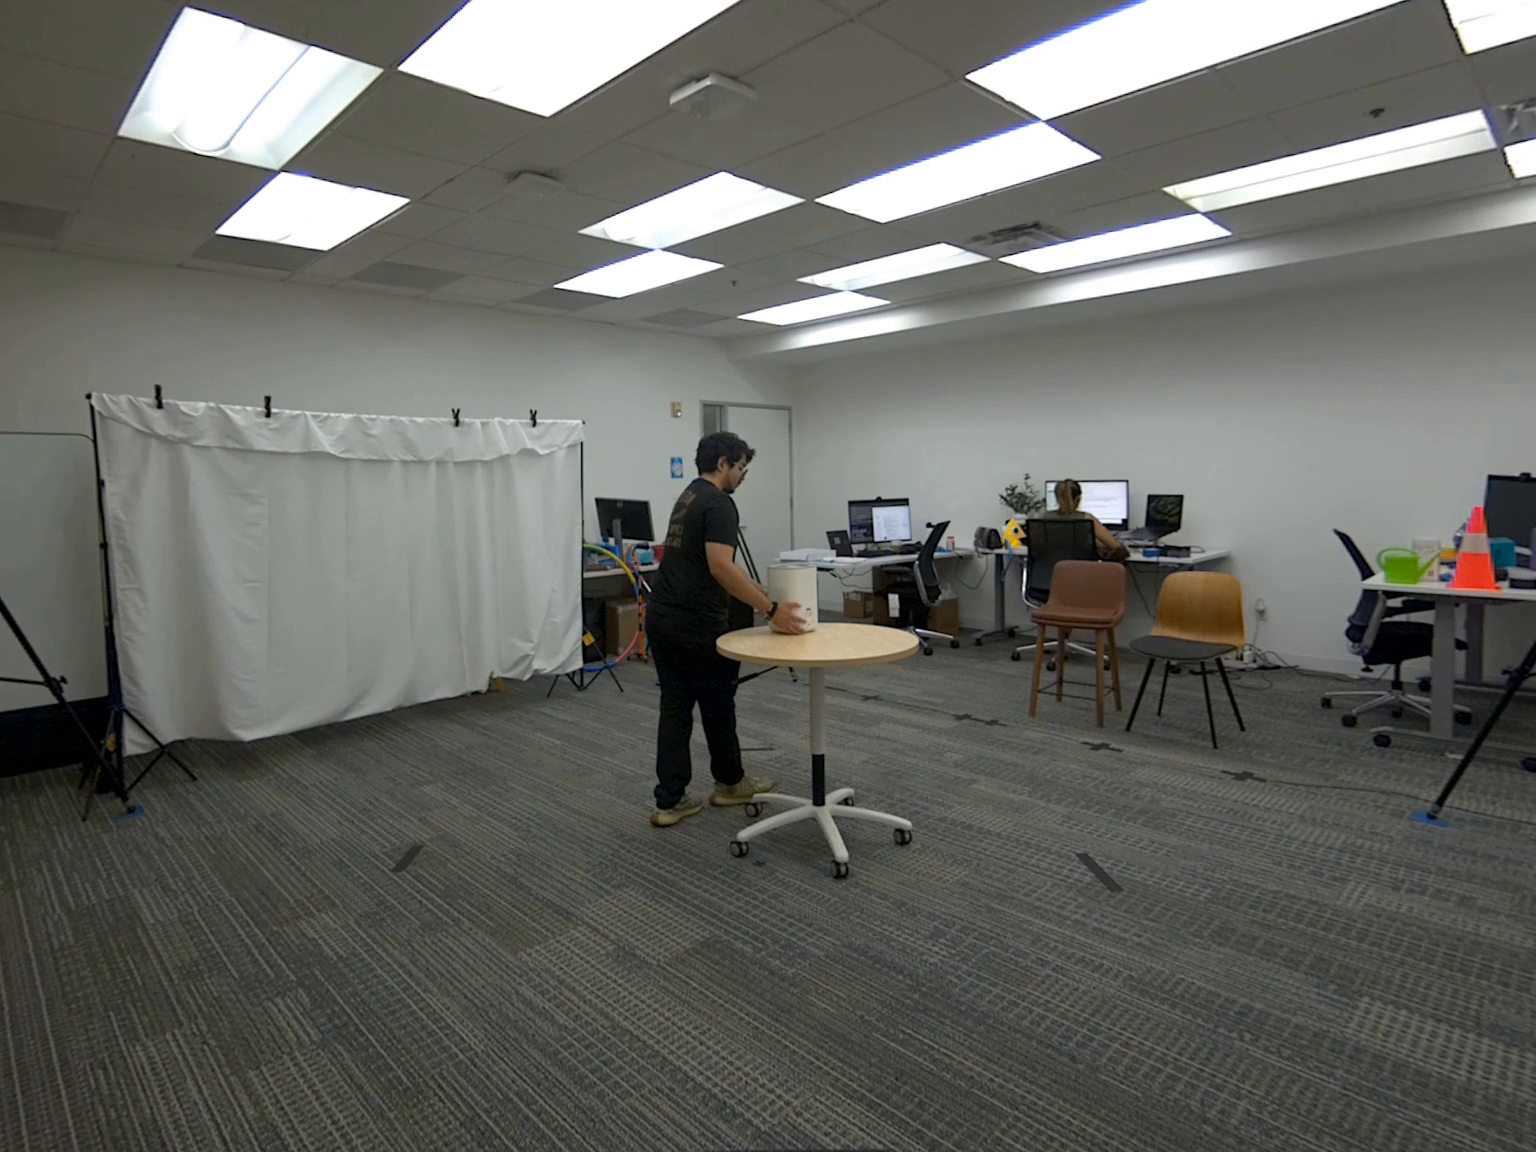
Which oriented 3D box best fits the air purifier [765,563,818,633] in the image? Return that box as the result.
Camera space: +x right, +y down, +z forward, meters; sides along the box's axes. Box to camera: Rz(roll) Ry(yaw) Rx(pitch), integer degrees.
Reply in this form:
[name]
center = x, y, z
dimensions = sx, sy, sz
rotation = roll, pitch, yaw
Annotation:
[air purifier]
center = 0.097, 0.087, 3.460
dimensions = 0.177, 0.264, 0.166
rotation = 3, 5, 45
